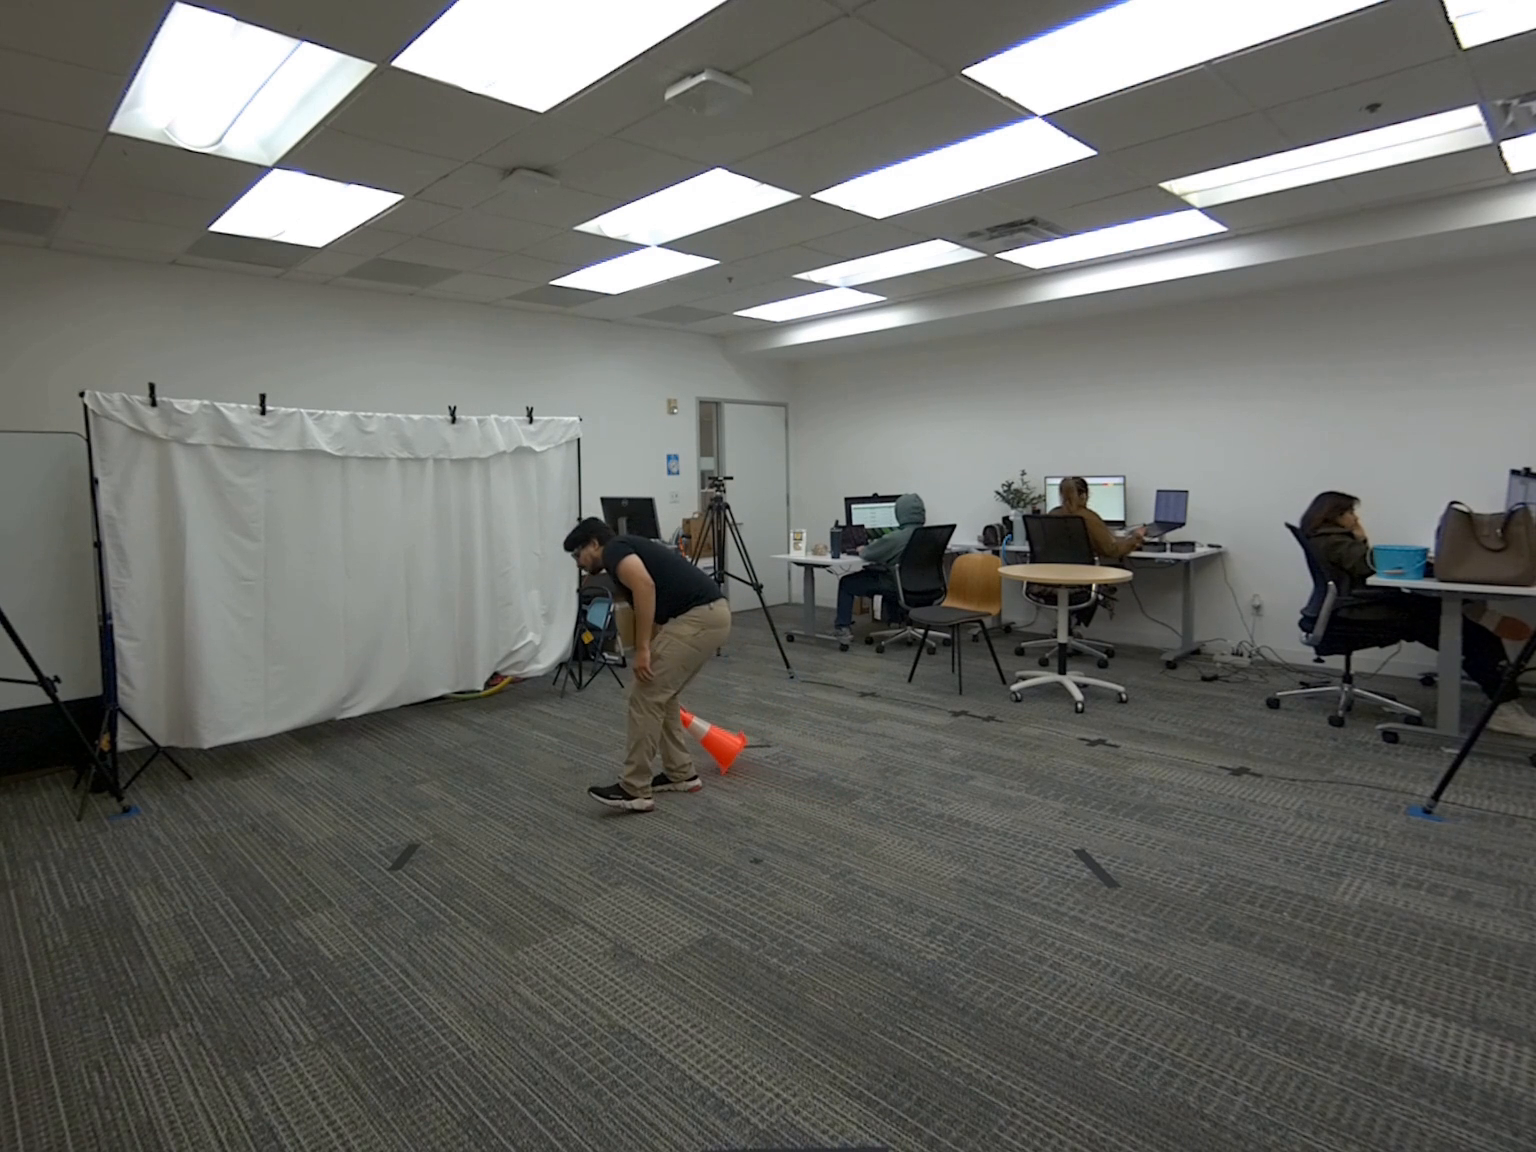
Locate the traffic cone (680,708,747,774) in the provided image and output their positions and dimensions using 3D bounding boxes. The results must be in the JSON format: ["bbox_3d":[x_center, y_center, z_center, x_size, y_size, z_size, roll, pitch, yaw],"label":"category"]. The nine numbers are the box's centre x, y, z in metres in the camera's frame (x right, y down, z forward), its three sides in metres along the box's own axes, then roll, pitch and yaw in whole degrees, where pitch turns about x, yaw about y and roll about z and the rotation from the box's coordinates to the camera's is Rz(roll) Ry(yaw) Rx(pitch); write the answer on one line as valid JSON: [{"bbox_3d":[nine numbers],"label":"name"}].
[{"bbox_3d":[-0.317,0.735,4.091,0.381,0.205,0.205,37,2,-5],"label":"traffic cone"}]
